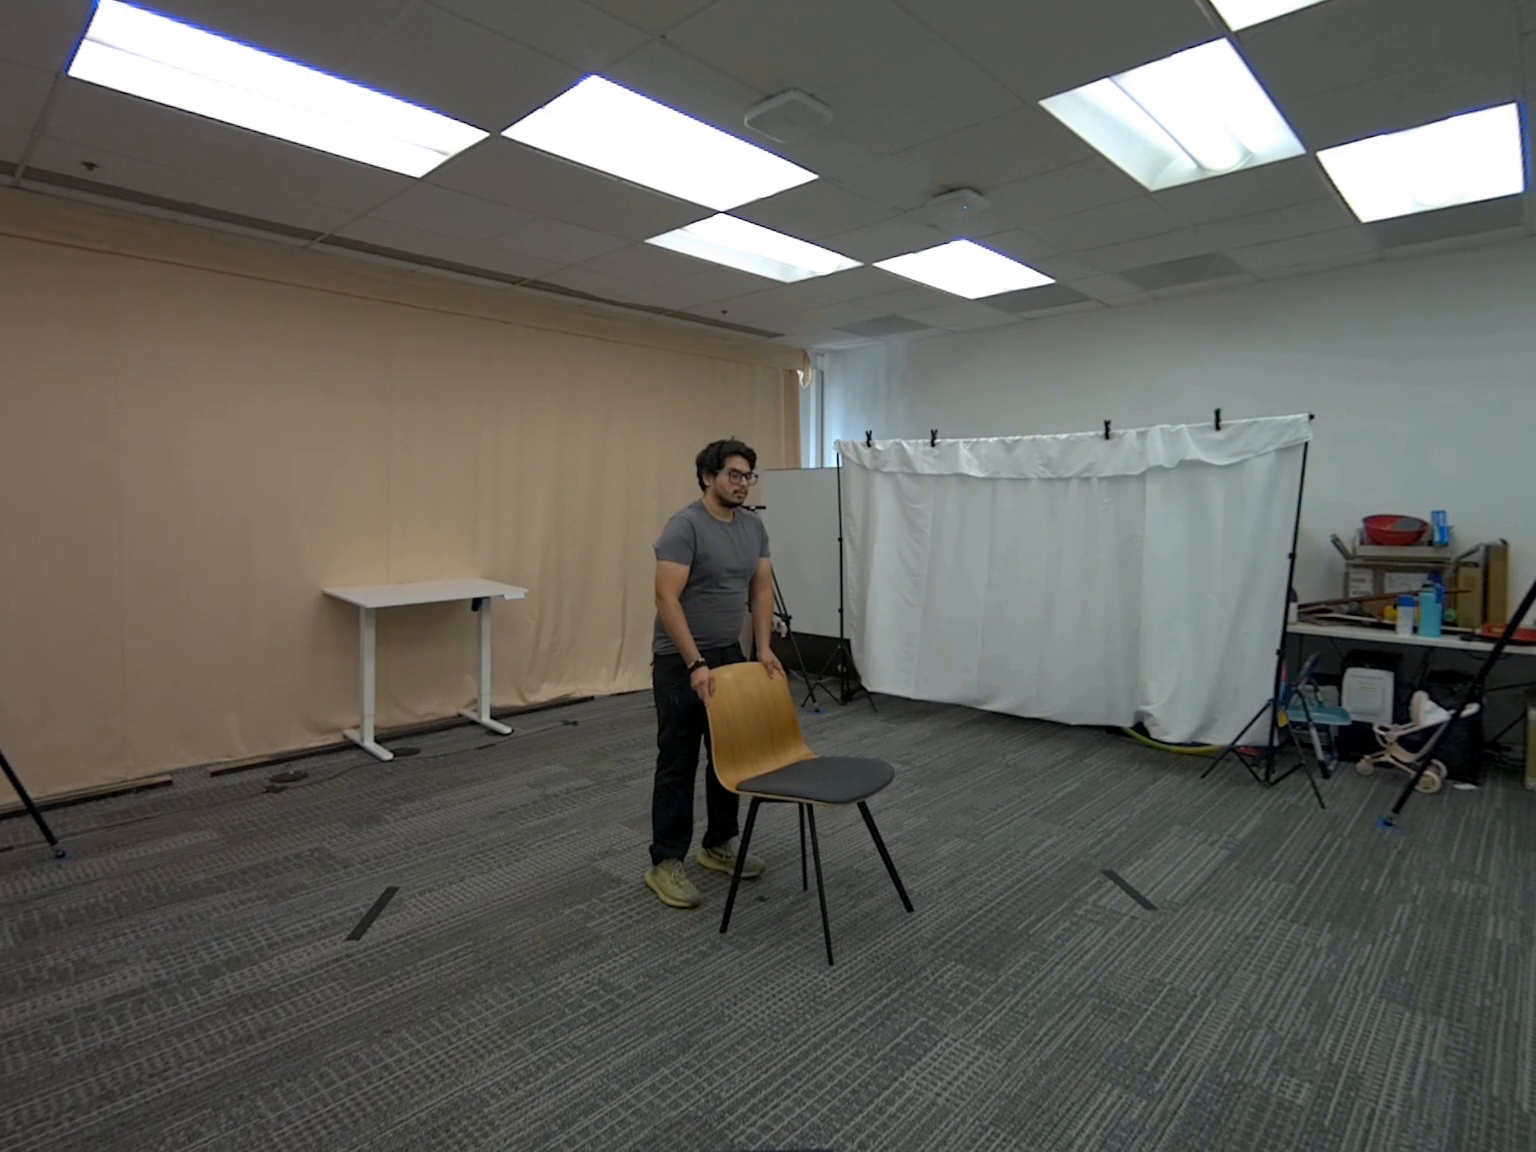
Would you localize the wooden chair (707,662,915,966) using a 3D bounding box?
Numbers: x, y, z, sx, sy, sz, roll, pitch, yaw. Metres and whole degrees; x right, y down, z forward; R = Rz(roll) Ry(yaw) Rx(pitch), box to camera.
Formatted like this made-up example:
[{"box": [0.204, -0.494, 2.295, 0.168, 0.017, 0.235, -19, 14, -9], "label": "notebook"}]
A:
[{"box": [0.123, 0.704, 2.755, 0.537, 0.882, 0.463, -15, -8, 42], "label": "wooden chair"}]
